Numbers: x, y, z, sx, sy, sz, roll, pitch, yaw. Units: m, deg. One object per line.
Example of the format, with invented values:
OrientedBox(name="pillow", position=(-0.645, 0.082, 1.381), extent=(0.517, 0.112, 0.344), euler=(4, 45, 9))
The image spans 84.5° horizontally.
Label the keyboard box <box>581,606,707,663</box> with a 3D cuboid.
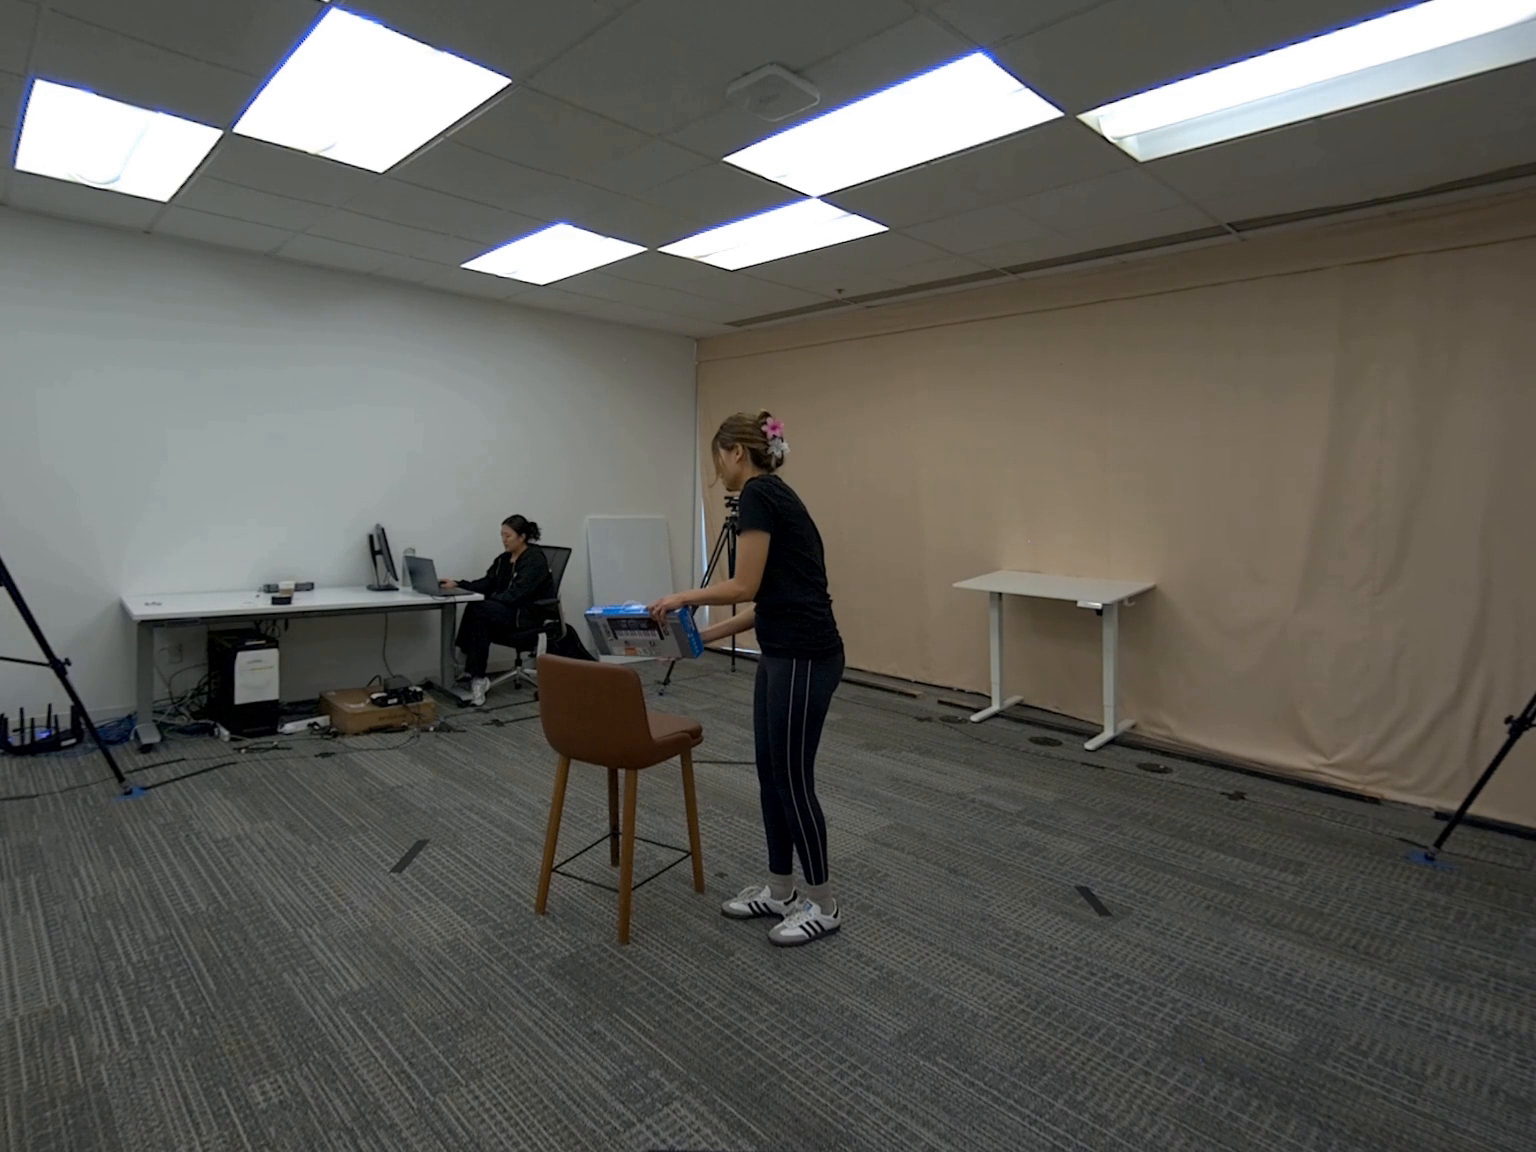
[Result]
OrientedBox(name="keyboard box", position=(-0.425, 0.193, 2.854), extent=(0.446, 0.173, 0.059), euler=(-2, 26, 35))
